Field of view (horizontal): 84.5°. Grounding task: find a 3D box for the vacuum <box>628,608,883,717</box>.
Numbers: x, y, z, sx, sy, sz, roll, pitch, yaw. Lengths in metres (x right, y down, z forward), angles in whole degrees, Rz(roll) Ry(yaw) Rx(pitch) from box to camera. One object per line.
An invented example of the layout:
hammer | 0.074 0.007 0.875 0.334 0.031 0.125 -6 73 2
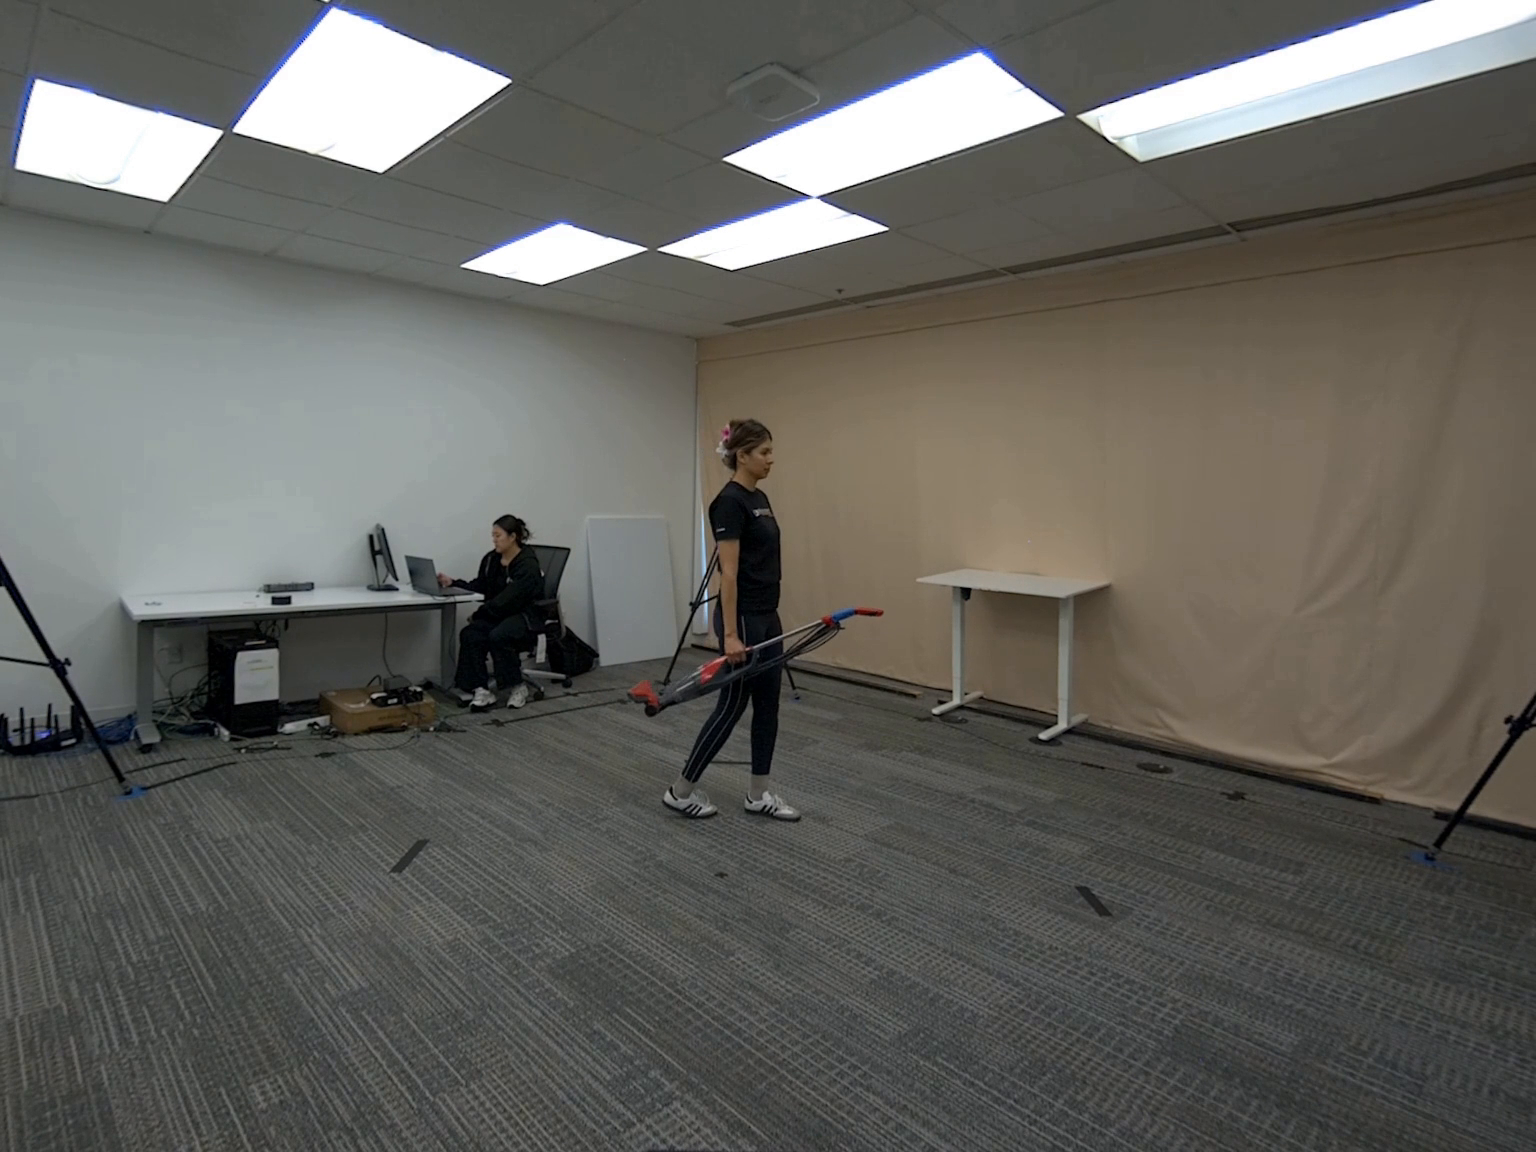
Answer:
vacuum | -0.055 0.343 3.406 1.054 0.144 0.252 -22 3 9
